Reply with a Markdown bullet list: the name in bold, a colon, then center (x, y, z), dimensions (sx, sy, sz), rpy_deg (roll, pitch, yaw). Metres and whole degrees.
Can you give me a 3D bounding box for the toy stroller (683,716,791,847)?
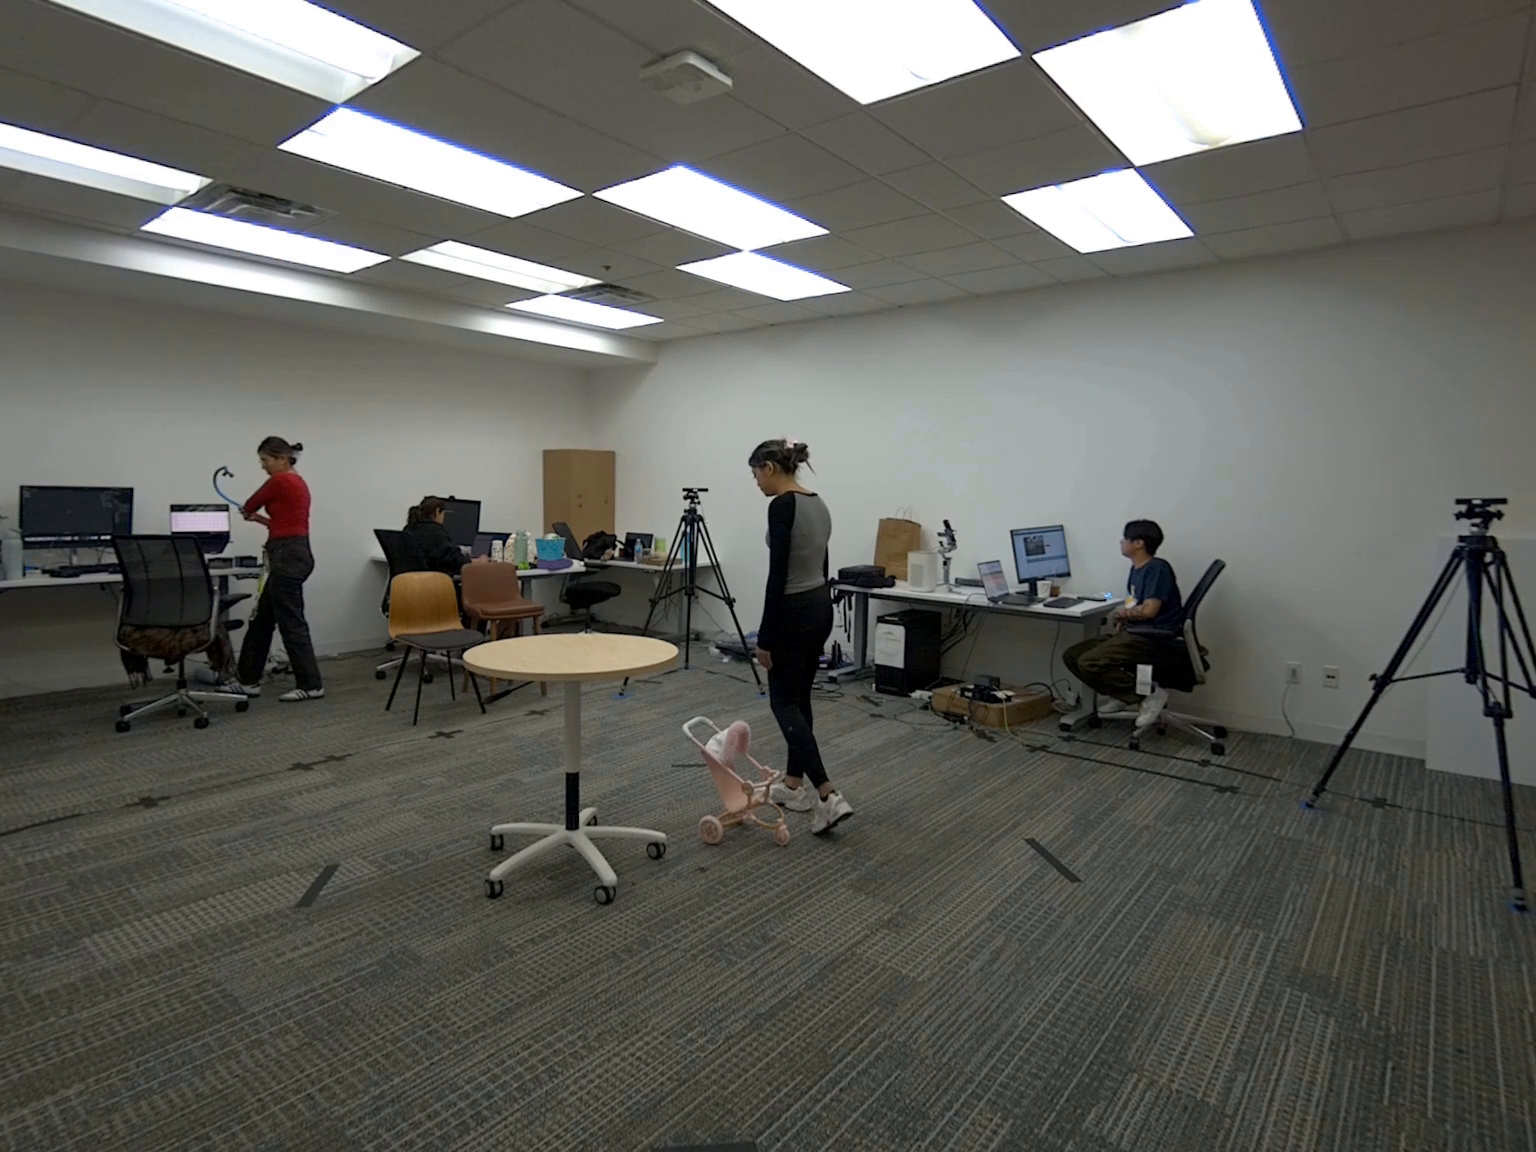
- **toy stroller**: center (-0.124, 0.816, 3.405), dimensions (0.348, 0.537, 0.275), rpy_deg (-14, -4, 29)
